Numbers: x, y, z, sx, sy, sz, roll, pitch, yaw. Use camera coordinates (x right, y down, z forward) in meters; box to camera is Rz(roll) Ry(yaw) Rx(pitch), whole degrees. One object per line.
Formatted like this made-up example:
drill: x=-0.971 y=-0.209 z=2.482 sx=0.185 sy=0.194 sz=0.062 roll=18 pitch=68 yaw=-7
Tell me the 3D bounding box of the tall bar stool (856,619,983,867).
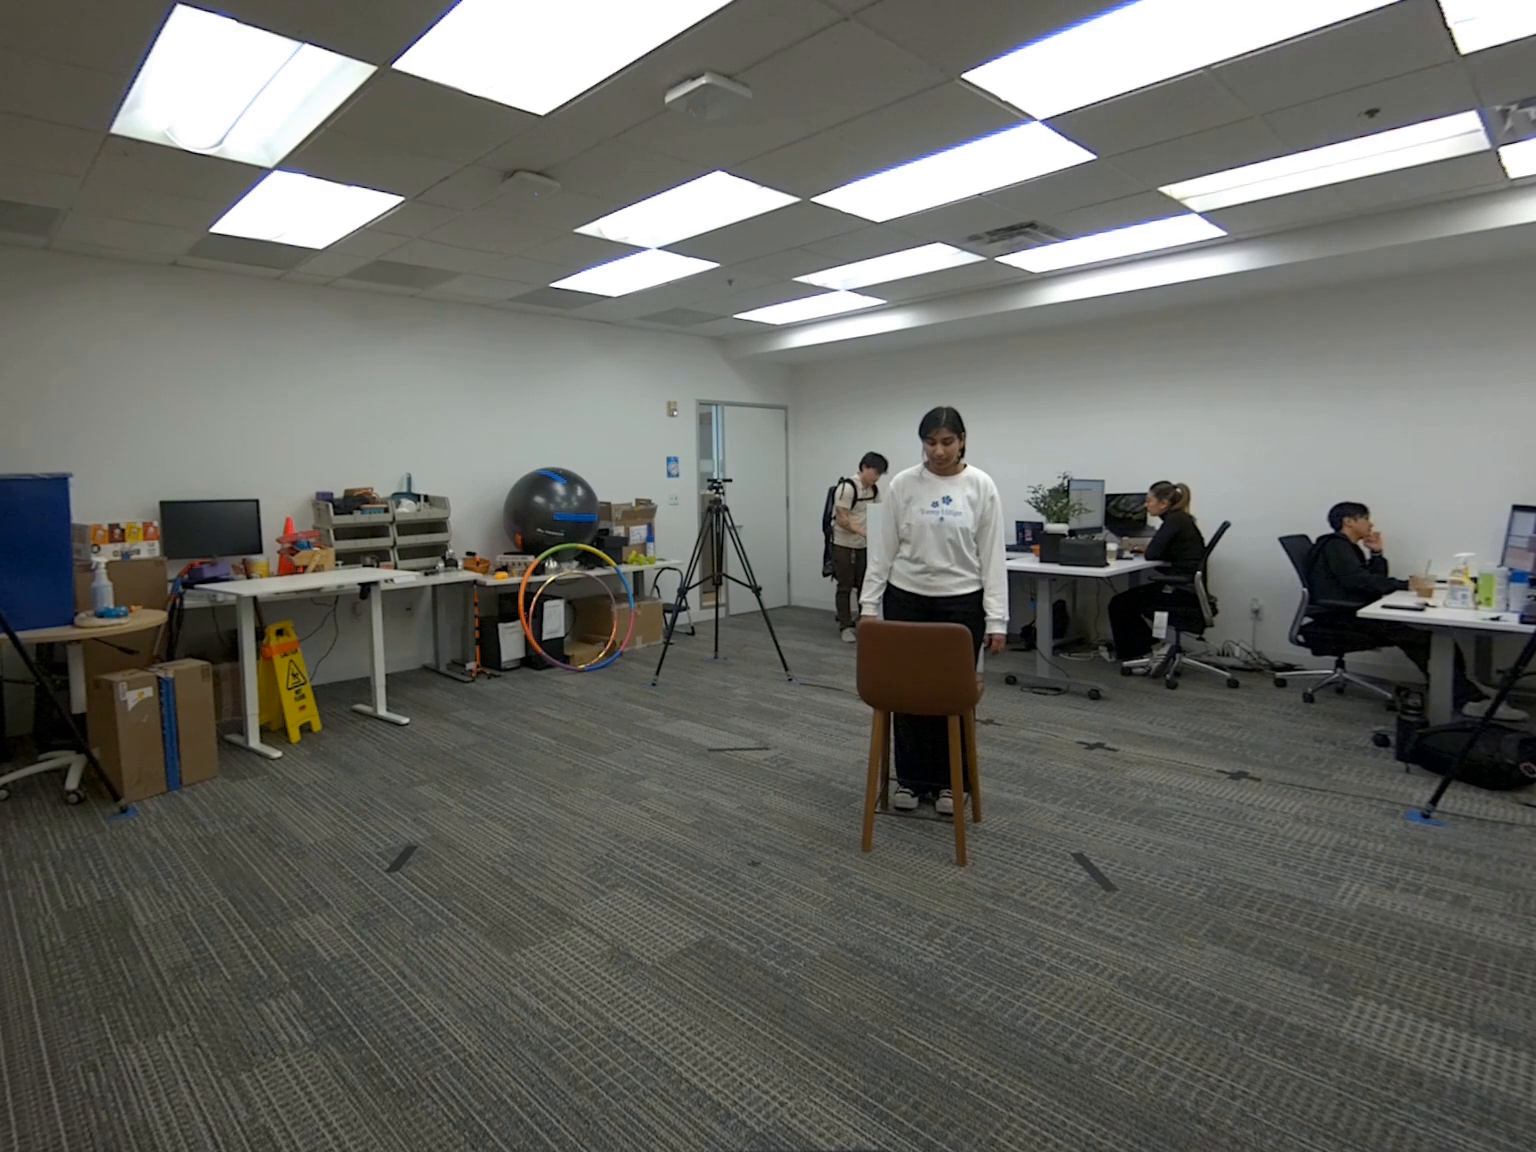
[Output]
tall bar stool: x=0.590 y=0.575 z=3.308 sx=0.466 sy=0.886 sz=0.460 roll=1 pitch=5 yaw=22
